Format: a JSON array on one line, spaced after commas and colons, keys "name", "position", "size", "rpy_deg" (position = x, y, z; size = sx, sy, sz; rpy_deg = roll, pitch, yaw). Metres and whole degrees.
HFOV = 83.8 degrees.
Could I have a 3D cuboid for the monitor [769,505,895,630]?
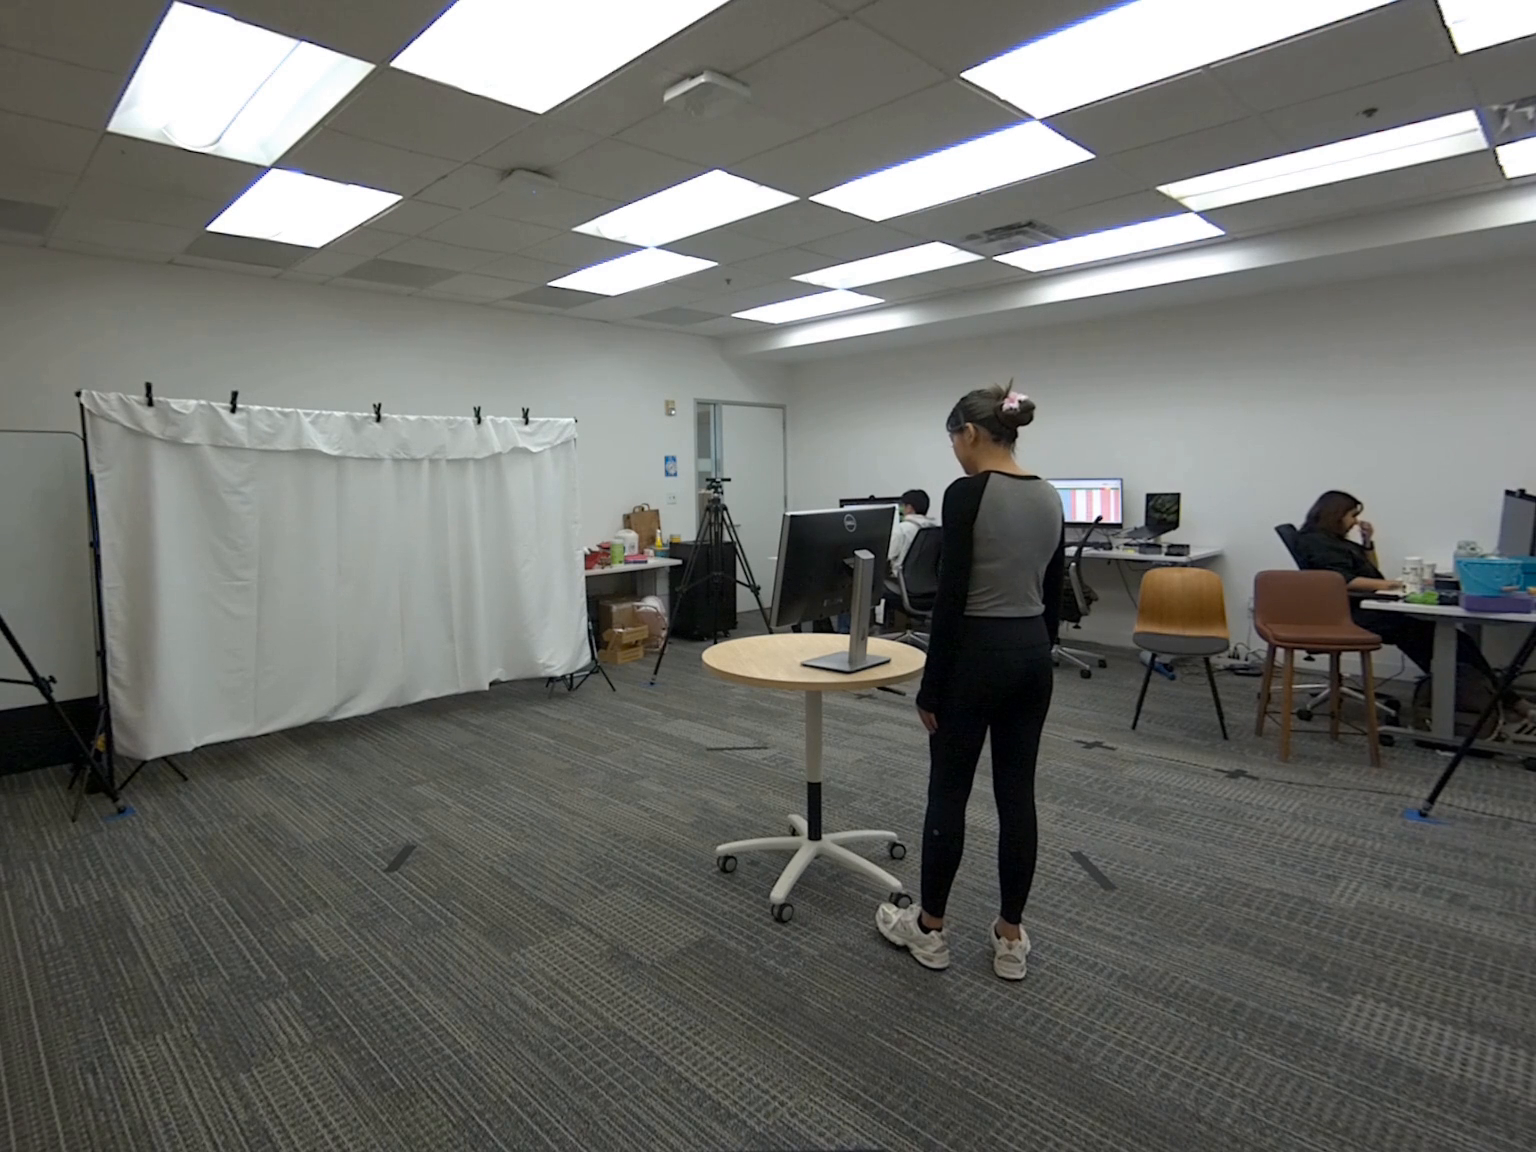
[{"name": "monitor", "position": [0.254, 0.042, 2.771], "size": [0.192, 0.521, 0.525], "rpy_deg": [-1, 3, 43]}]
